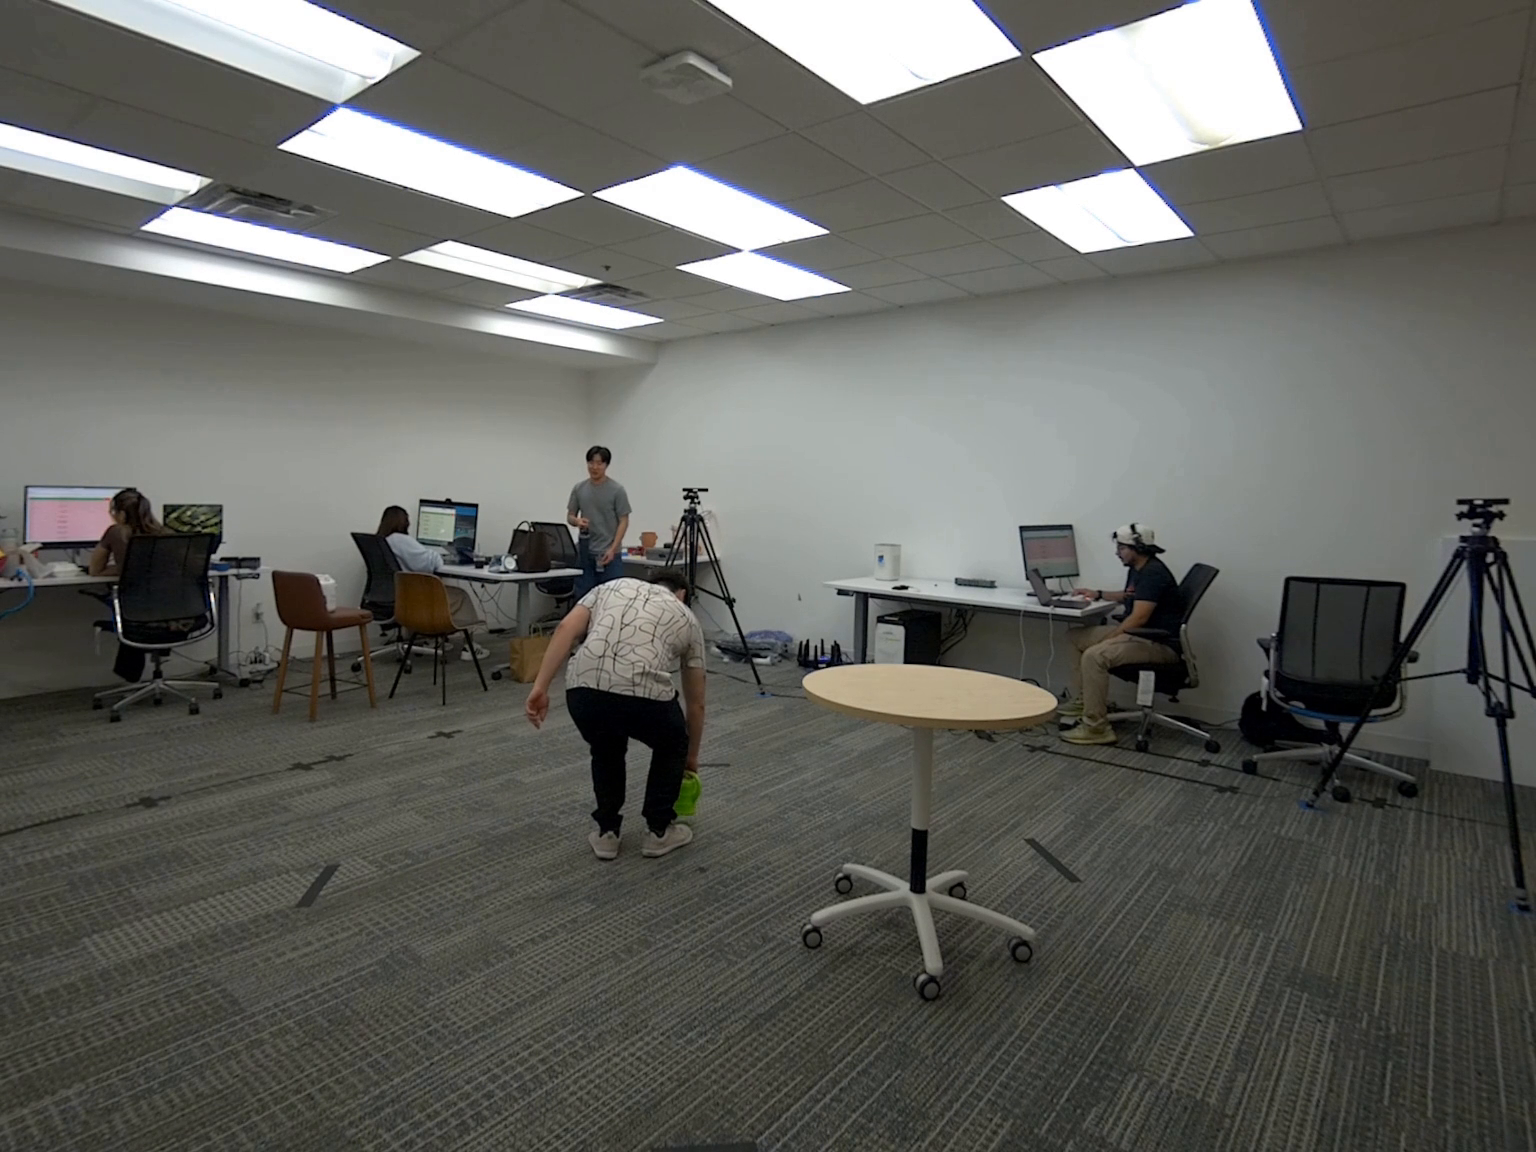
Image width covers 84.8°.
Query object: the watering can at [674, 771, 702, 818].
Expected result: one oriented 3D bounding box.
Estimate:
[{"bbox_3d":[-0.404,0.886,3.568,0.095,0.177,0.287,2,-1,-43],"label":"watering can"}]
